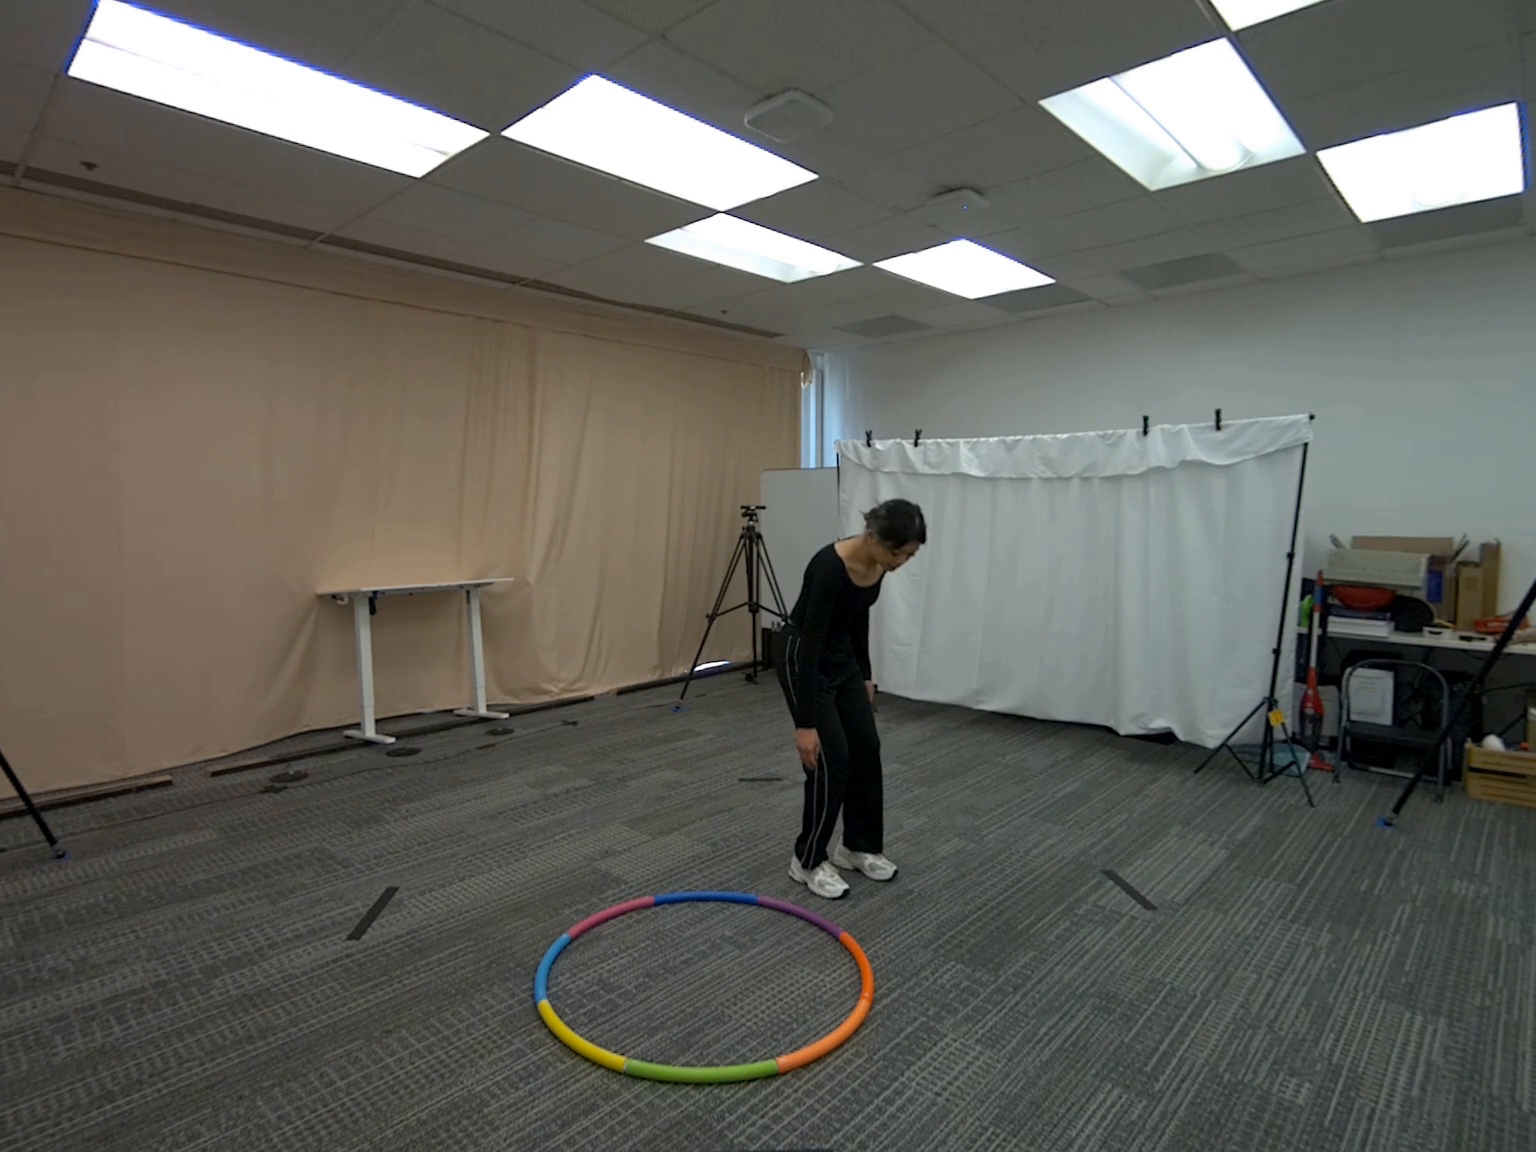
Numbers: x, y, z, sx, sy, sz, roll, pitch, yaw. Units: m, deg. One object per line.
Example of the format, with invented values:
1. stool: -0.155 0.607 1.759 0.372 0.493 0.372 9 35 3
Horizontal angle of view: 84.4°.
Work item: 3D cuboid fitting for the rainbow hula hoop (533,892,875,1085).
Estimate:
1. rainbow hula hoop: -0.186 1.156 2.505 0.978 0.035 0.982 0 4 -2
